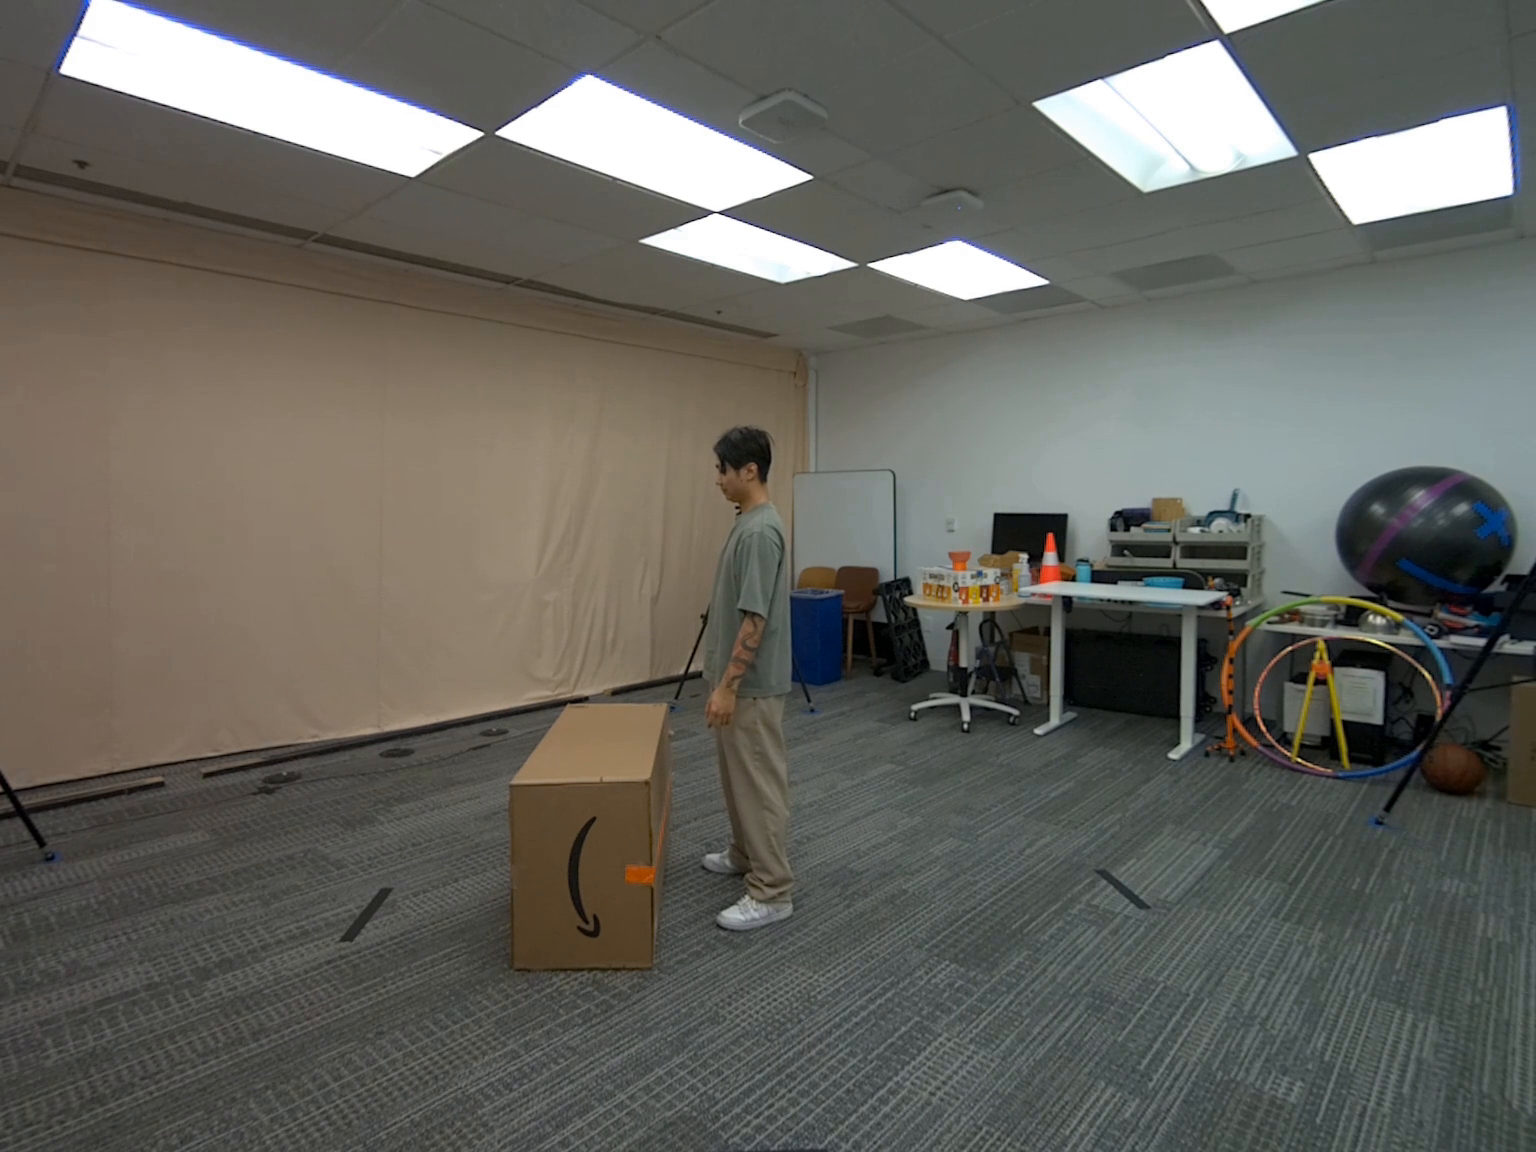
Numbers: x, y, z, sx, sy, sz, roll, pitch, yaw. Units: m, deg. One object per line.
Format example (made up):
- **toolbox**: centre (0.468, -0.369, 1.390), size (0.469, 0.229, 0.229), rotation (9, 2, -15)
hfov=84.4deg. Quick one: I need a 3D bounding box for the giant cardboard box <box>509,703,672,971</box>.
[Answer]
- **giant cardboard box**: centre (-0.589, 0.850, 3.018), size (0.425, 0.576, 1.031), rotation (0, 4, -4)
